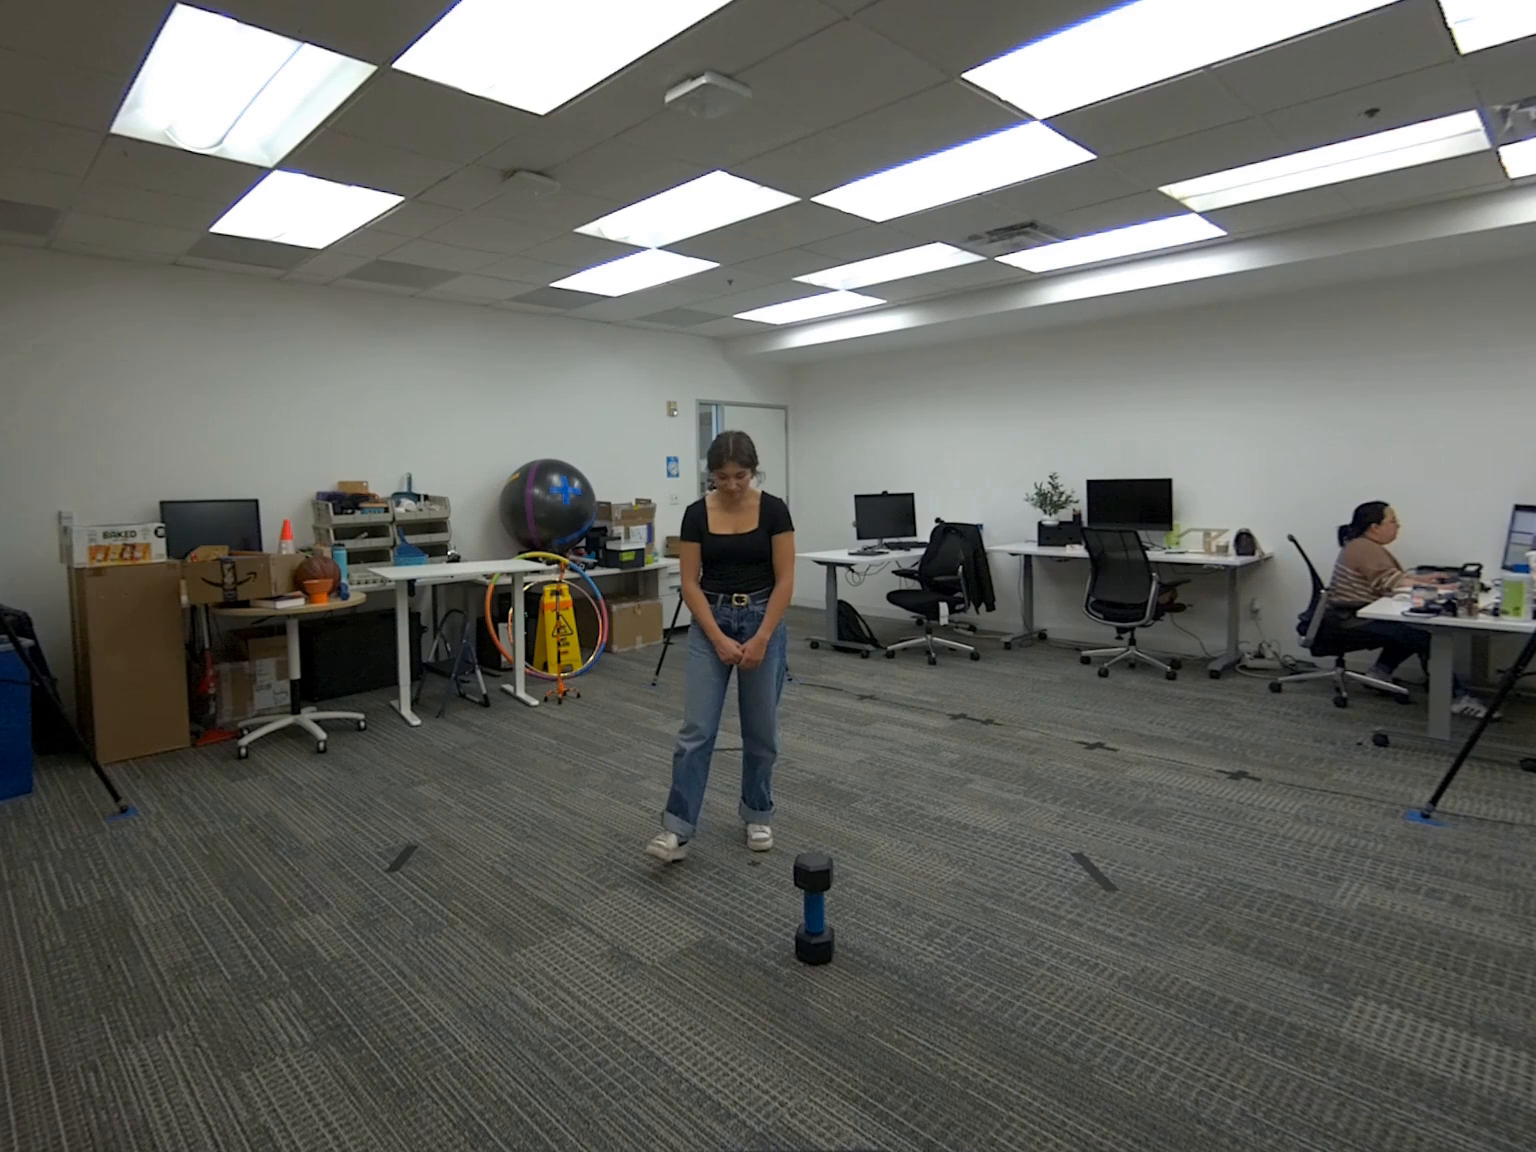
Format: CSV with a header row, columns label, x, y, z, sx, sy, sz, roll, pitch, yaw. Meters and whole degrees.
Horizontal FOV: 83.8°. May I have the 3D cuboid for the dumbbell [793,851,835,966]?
label,x,y,z,sx,sy,sz,roll,pitch,yaw
dumbbell,0.142,0.970,2.492,0.121,0.293,0.110,-2,3,-16
